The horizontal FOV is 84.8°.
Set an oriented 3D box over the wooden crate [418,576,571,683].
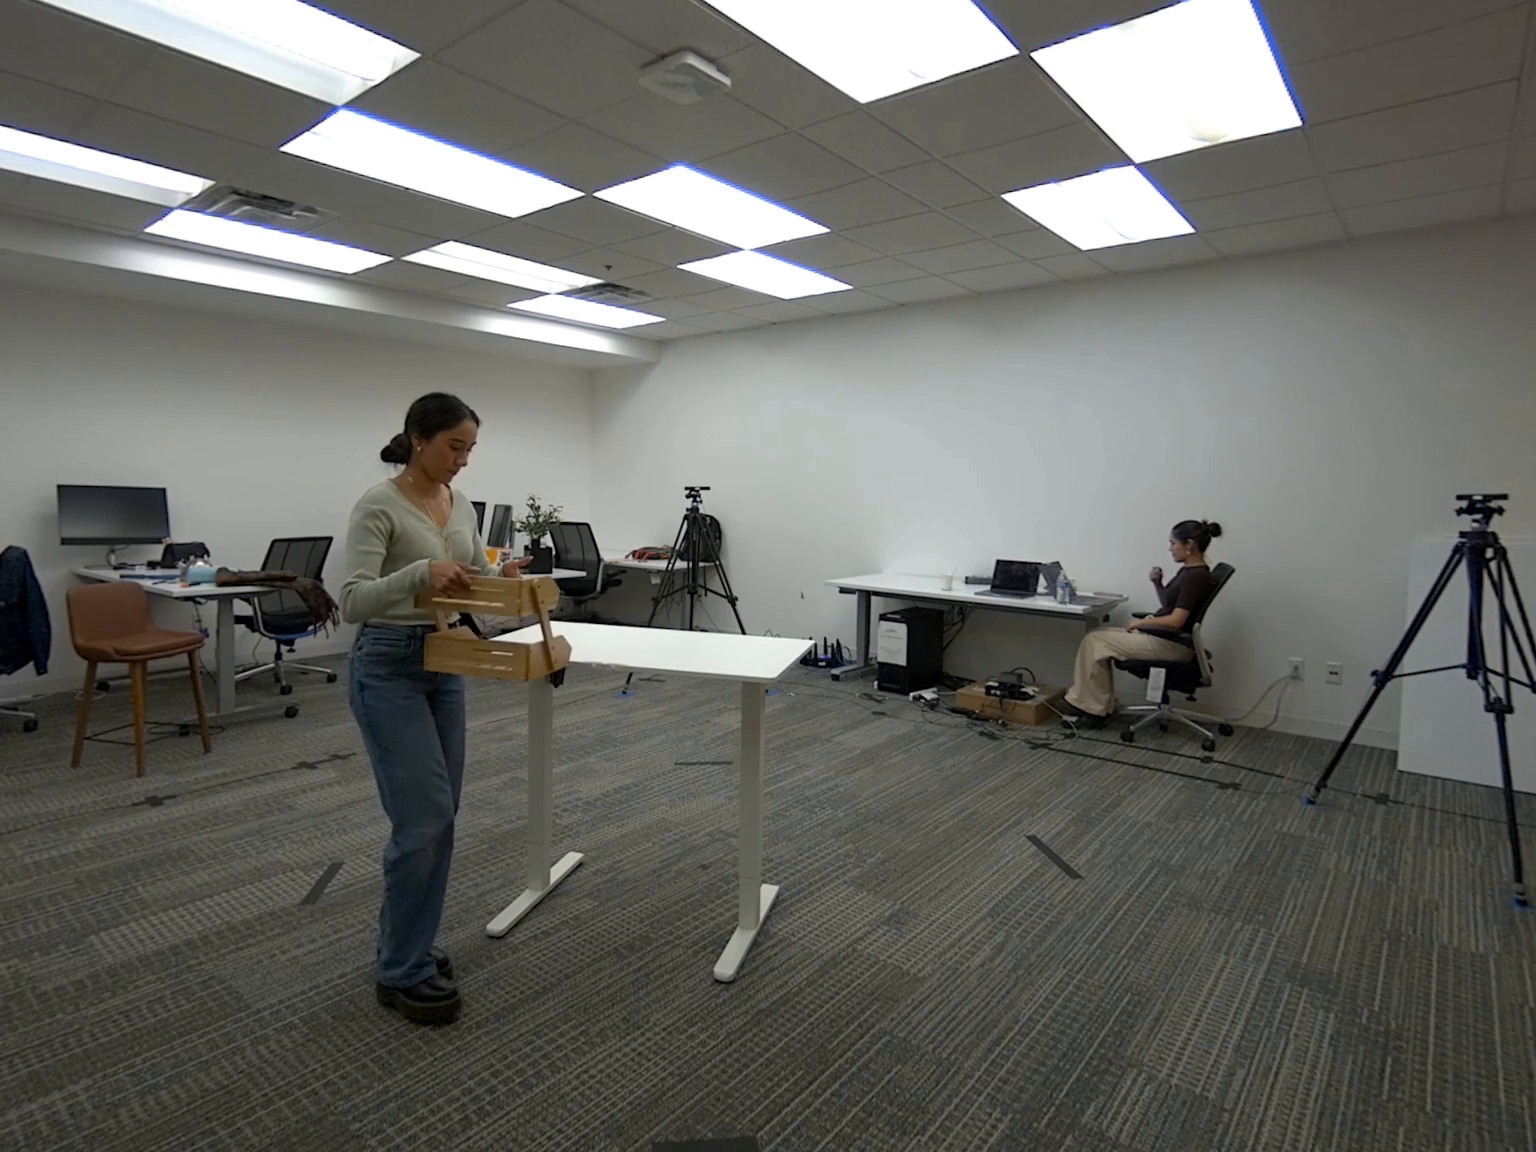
[{"bbox_3d":[-0.731,0.116,2.249,0.329,0.272,0.299,3,5,12],"label":"wooden crate"}]
